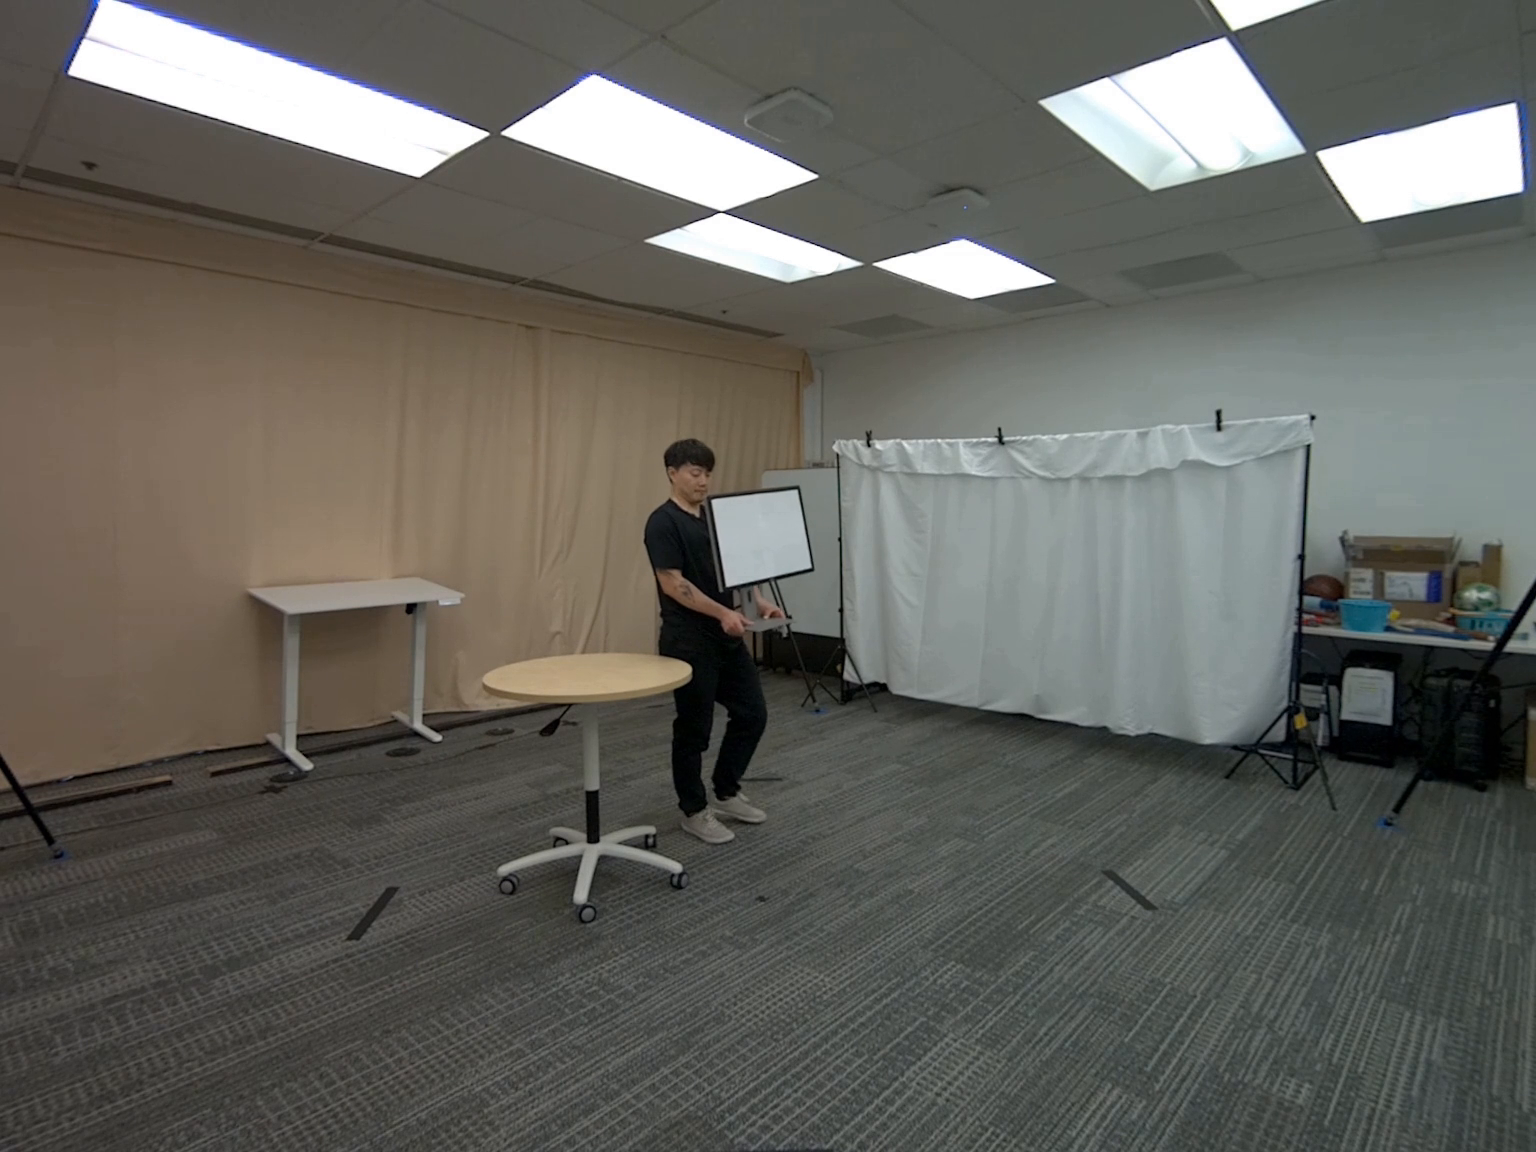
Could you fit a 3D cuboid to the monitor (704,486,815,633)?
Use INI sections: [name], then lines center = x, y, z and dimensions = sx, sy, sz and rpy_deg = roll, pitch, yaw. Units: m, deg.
[monitor]
center = -0.042, -0.074, 3.329
dimensions = 0.193, 0.519, 0.524
rpy_deg = 8, 12, 40
